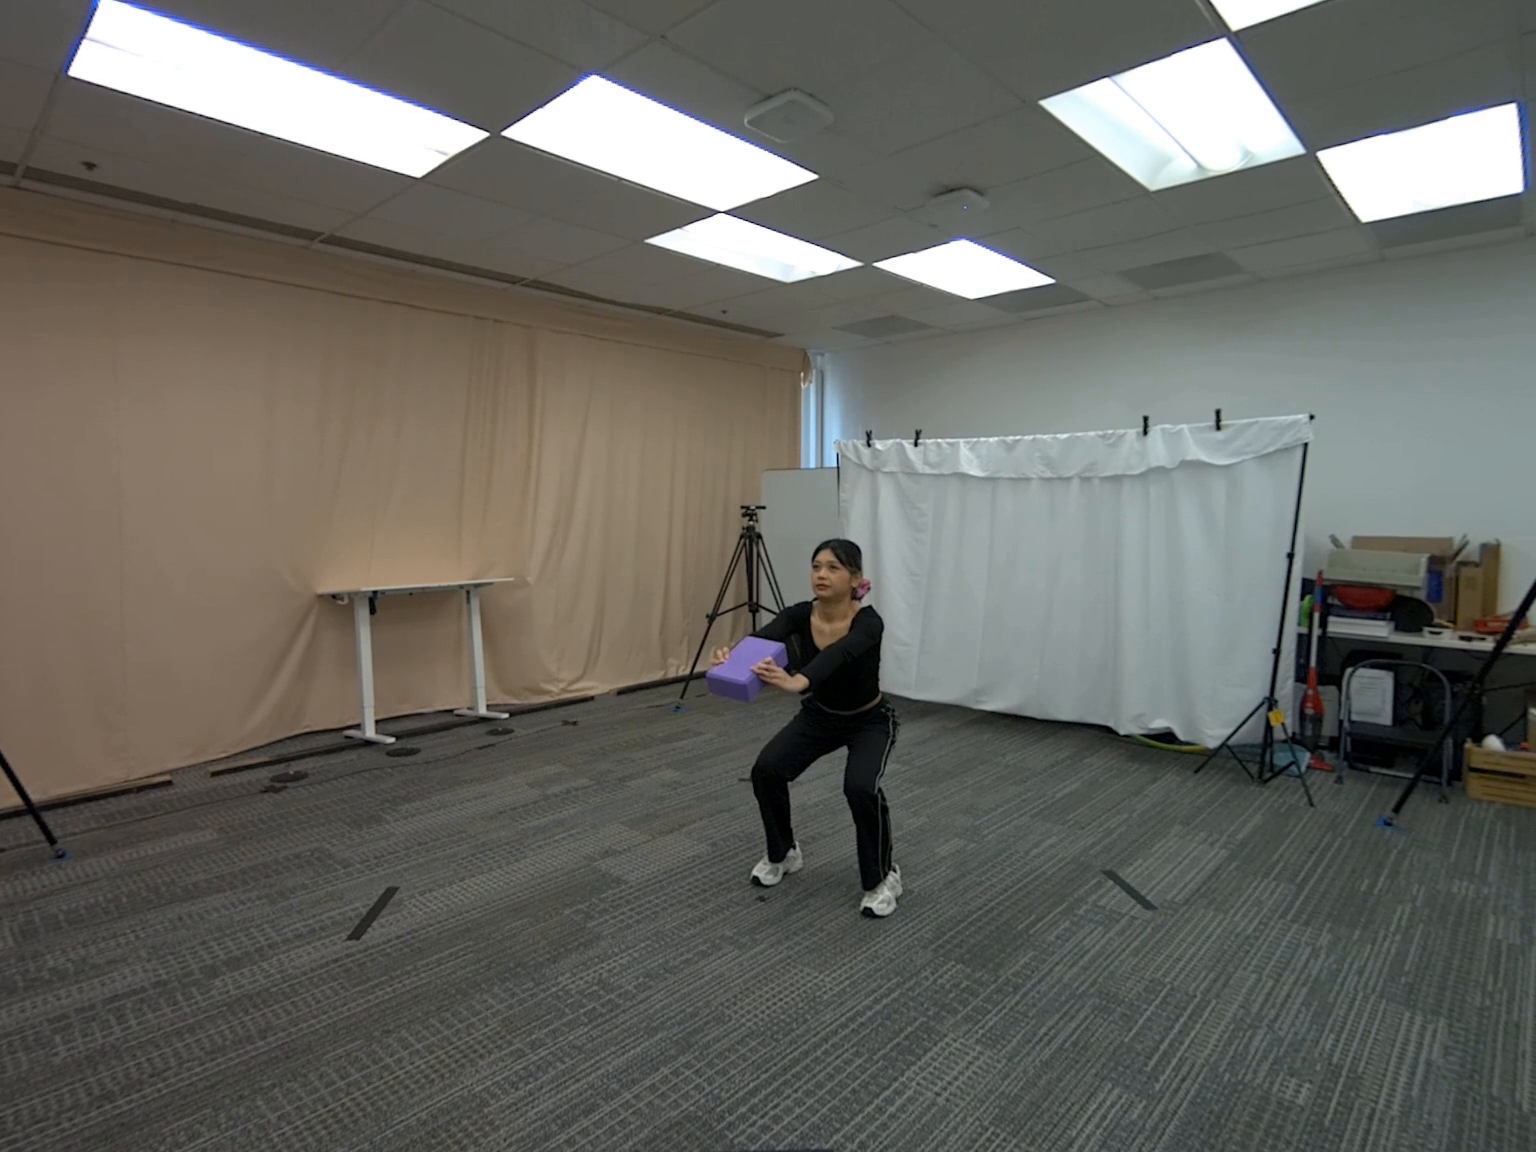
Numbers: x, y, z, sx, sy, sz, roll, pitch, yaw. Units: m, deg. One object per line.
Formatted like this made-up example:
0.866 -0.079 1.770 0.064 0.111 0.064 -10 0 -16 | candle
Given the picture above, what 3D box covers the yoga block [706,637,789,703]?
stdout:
-0.059 0.267 2.518 0.154 0.075 0.226 6 31 32 | yoga block
